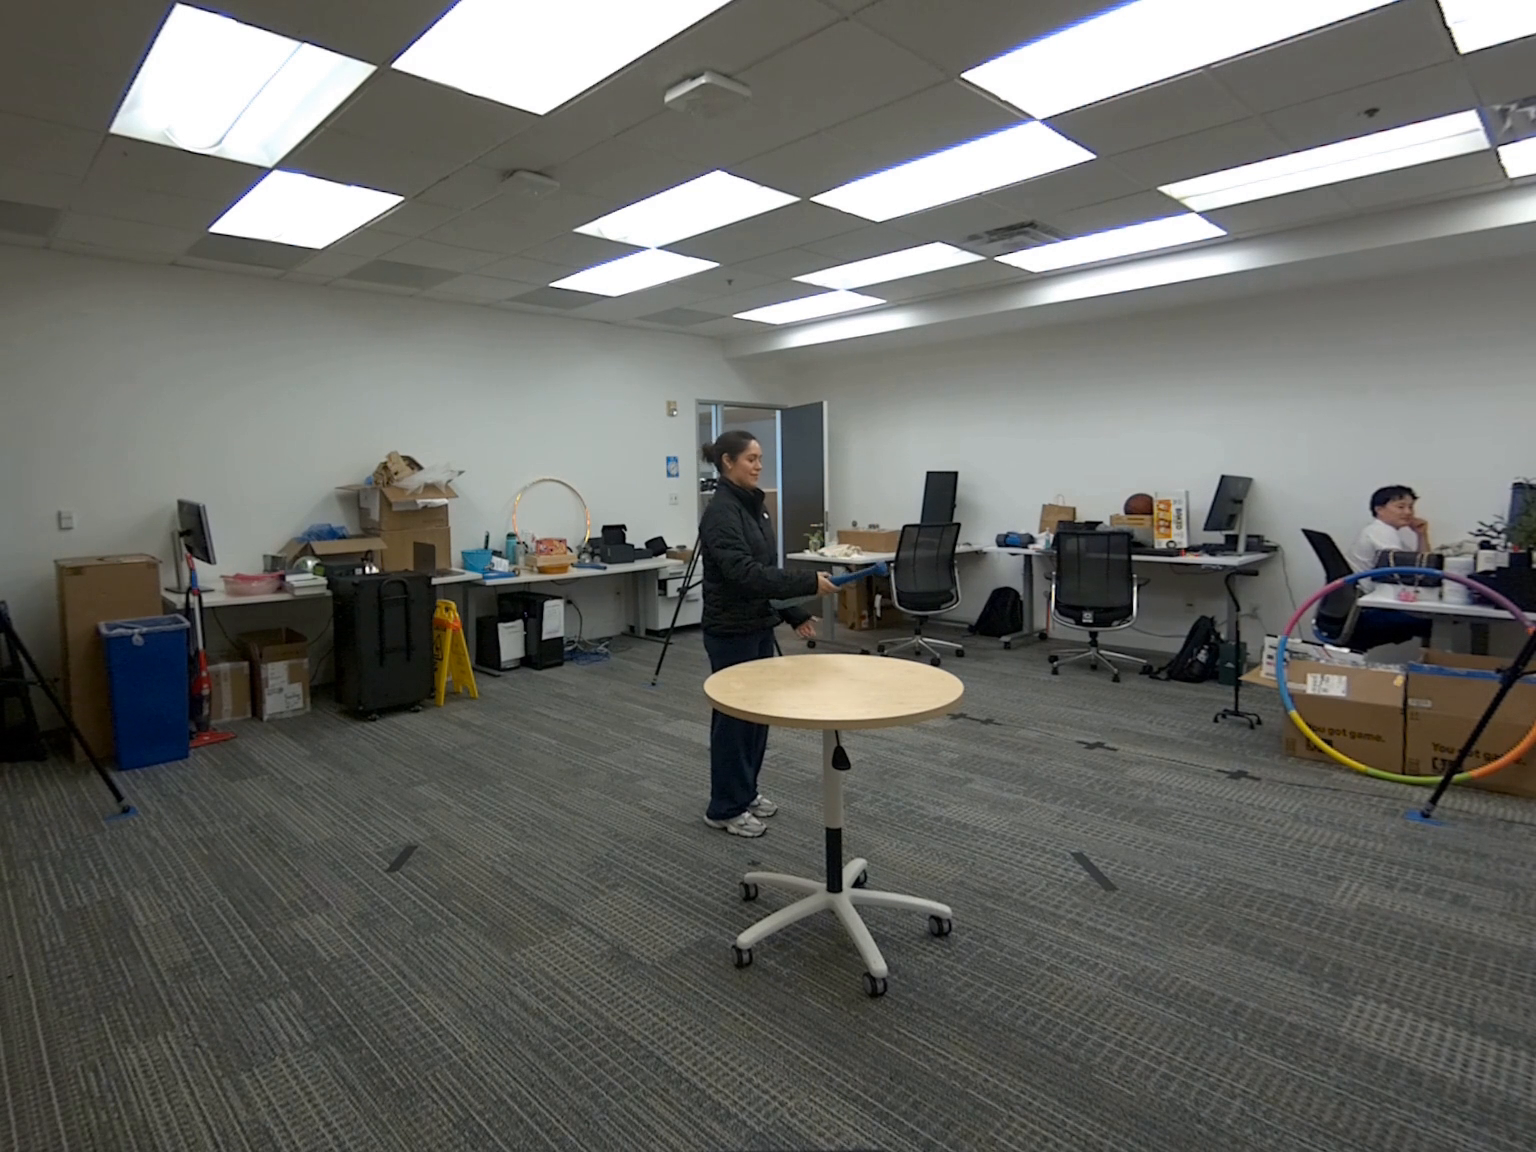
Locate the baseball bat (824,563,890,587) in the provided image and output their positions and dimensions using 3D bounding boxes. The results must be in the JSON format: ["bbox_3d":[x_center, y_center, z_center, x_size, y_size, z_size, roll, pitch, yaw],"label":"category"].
[{"bbox_3d":[0.218,0.025,3.170,0.553,0.090,0.087,-18,-8,42],"label":"baseball bat"}]
